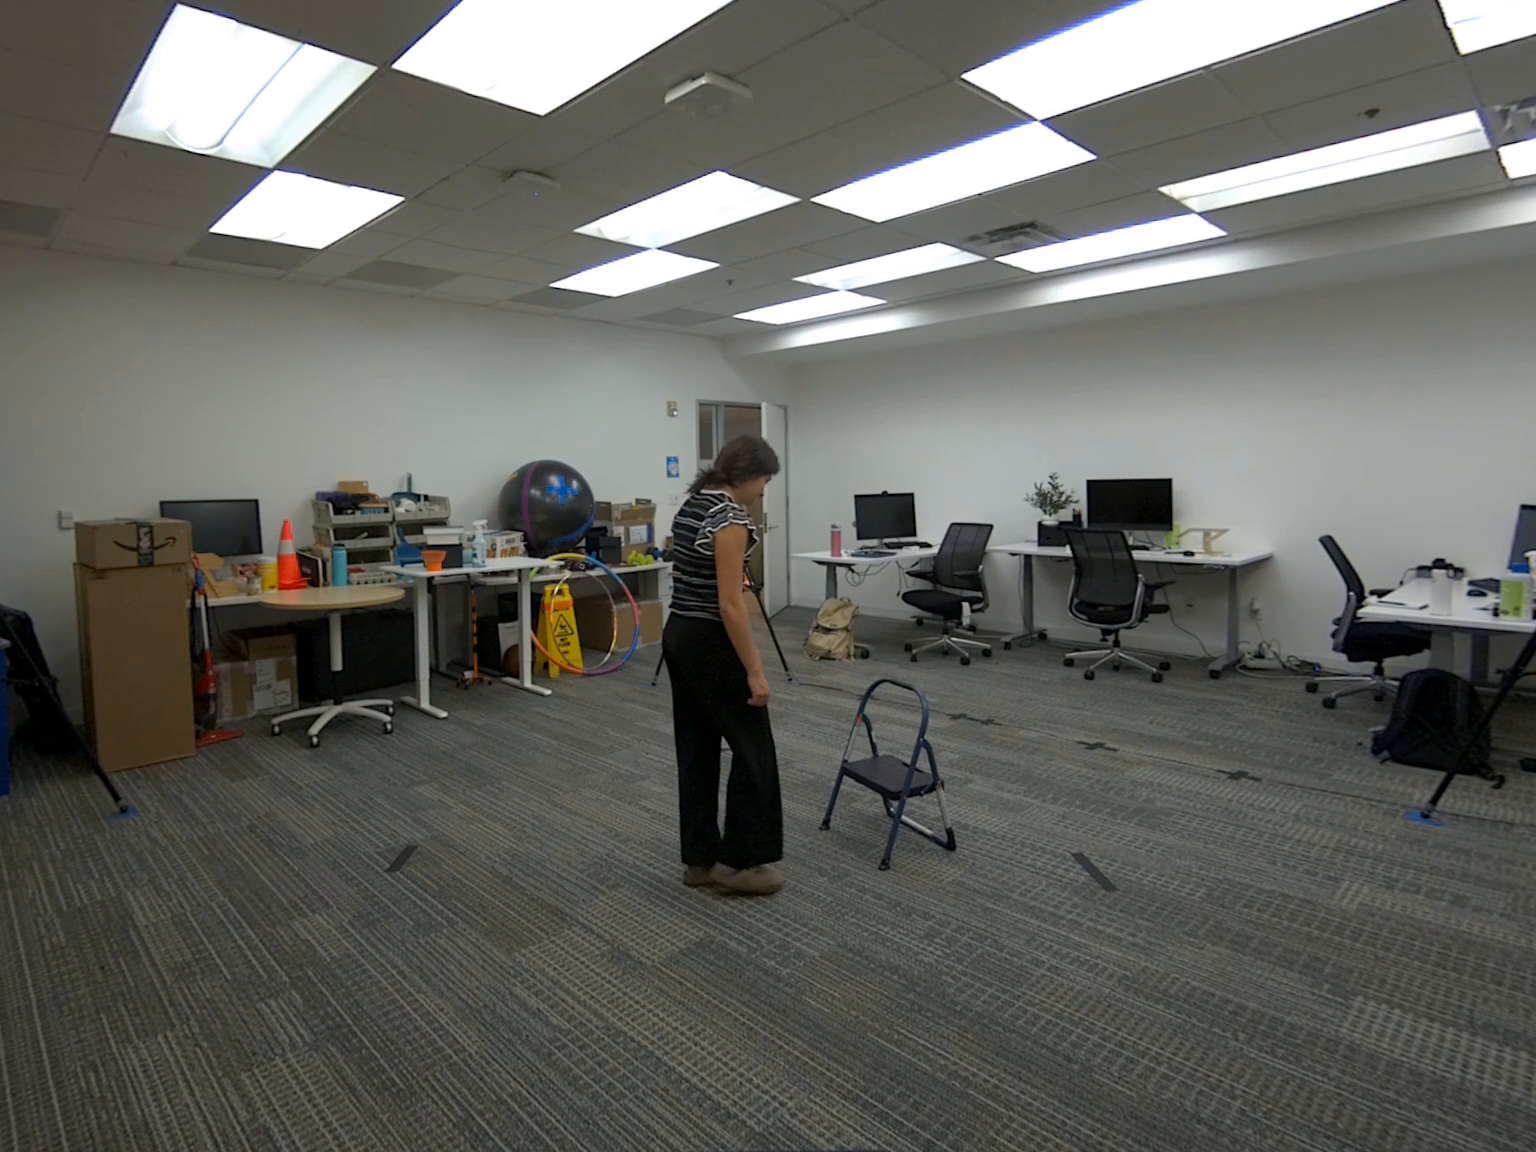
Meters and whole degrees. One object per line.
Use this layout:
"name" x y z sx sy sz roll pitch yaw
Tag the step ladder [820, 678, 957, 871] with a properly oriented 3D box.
"step ladder" 0.452 0.714 3.278 0.341 0.604 0.442 -3 5 -27
